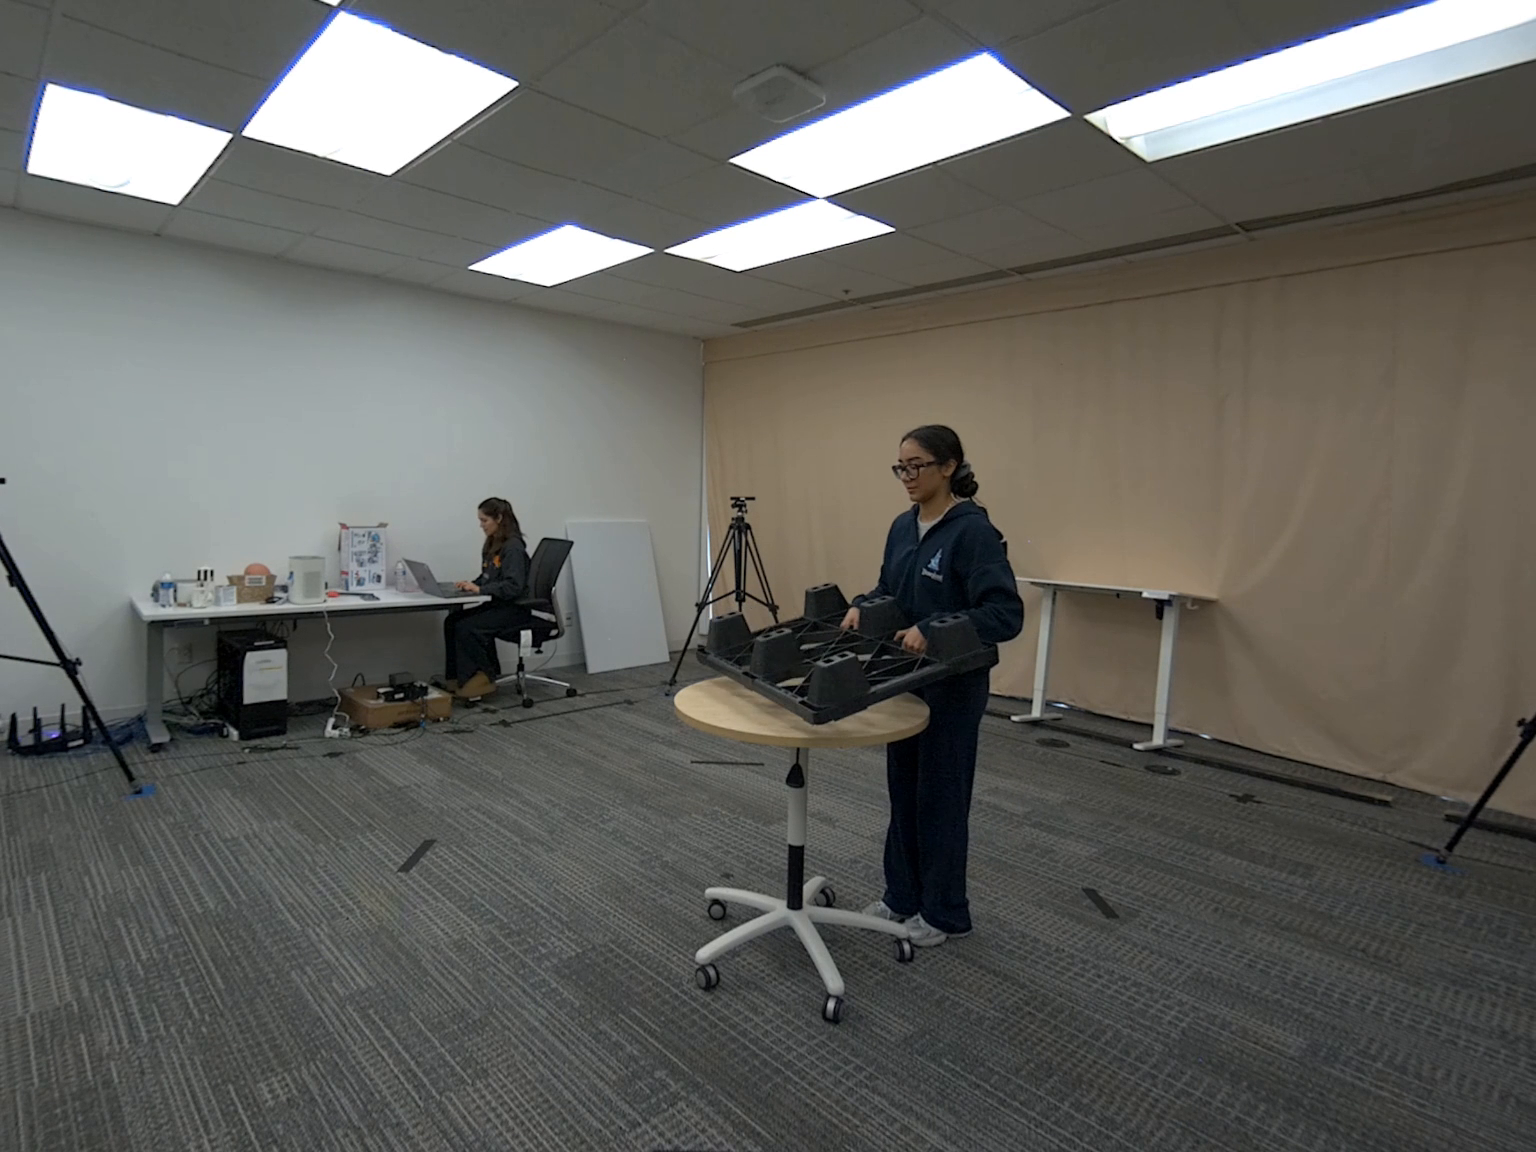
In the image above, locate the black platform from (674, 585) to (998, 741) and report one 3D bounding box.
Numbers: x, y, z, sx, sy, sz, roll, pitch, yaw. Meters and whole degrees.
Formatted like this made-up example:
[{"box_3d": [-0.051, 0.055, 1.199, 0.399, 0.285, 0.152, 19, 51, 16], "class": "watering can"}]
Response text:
[{"box_3d": [0.176, 0.192, 2.547, 0.597, 0.142, 0.824, -16, 14, -25], "class": "black platform"}]
